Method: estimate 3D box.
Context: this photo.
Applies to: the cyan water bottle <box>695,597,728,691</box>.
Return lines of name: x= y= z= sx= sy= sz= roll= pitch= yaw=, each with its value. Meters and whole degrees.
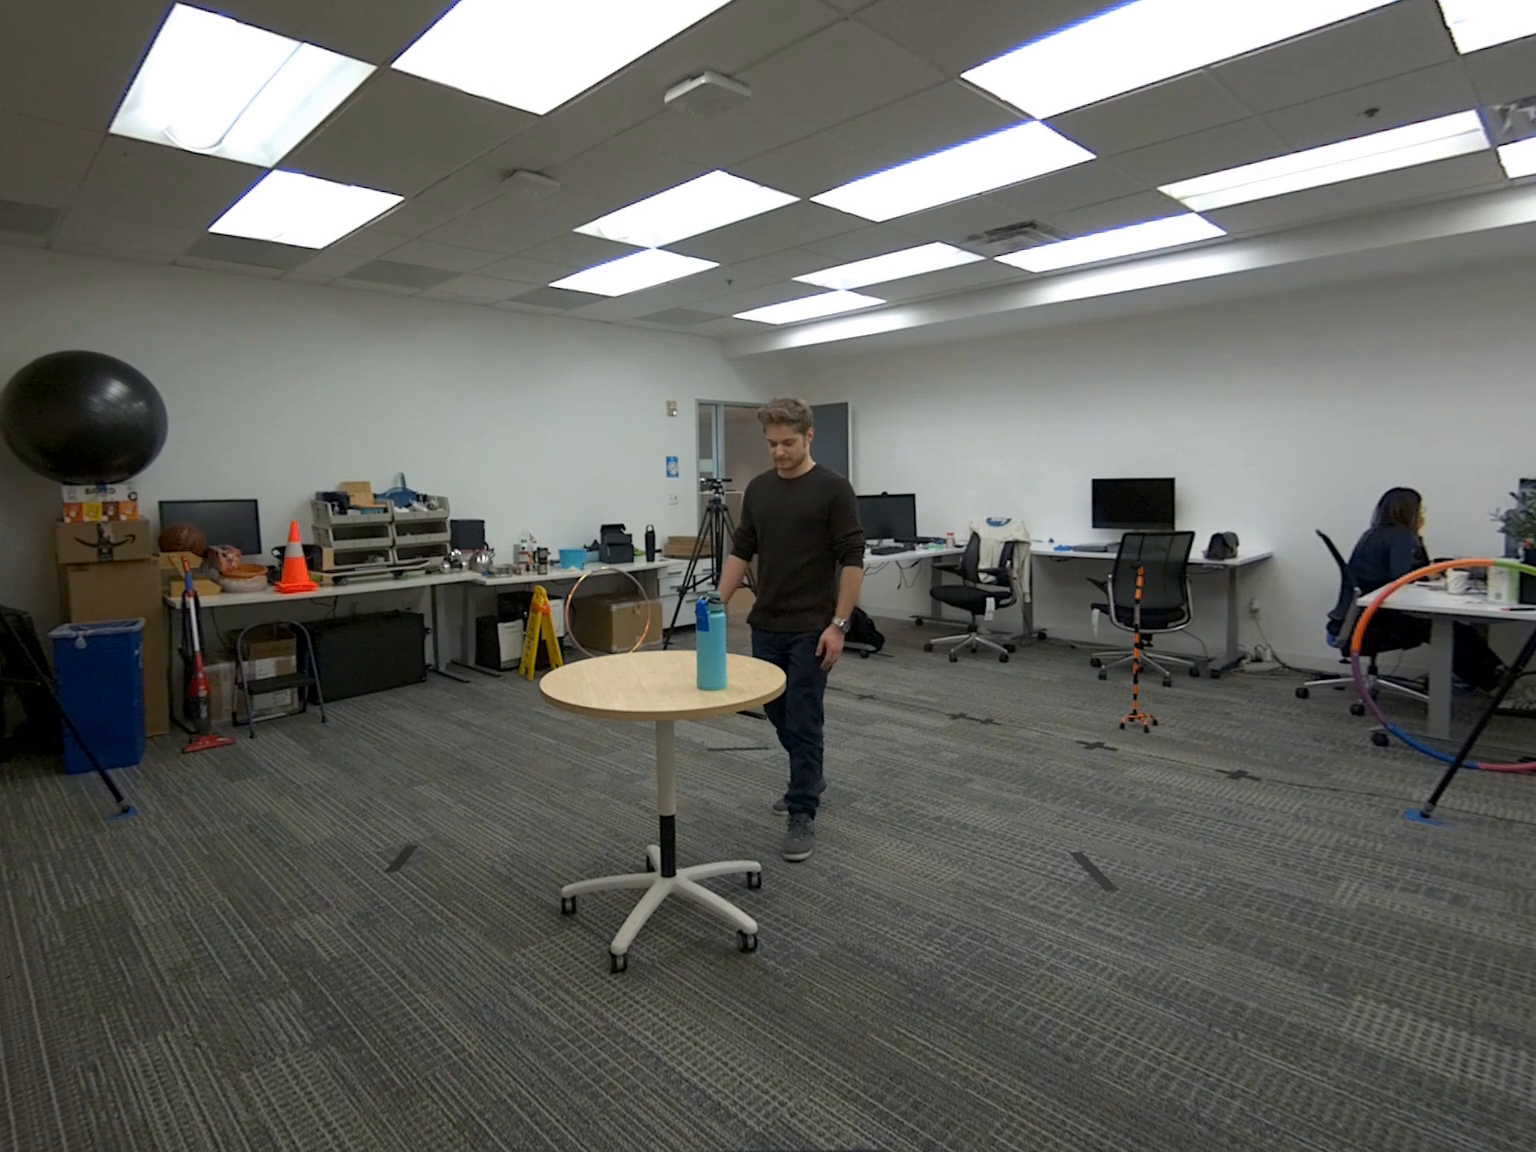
cyan water bottle: x=-0.166 y=0.193 z=2.528 sx=0.092 sy=0.282 sz=0.093 roll=-3 pitch=3 yaw=-1
